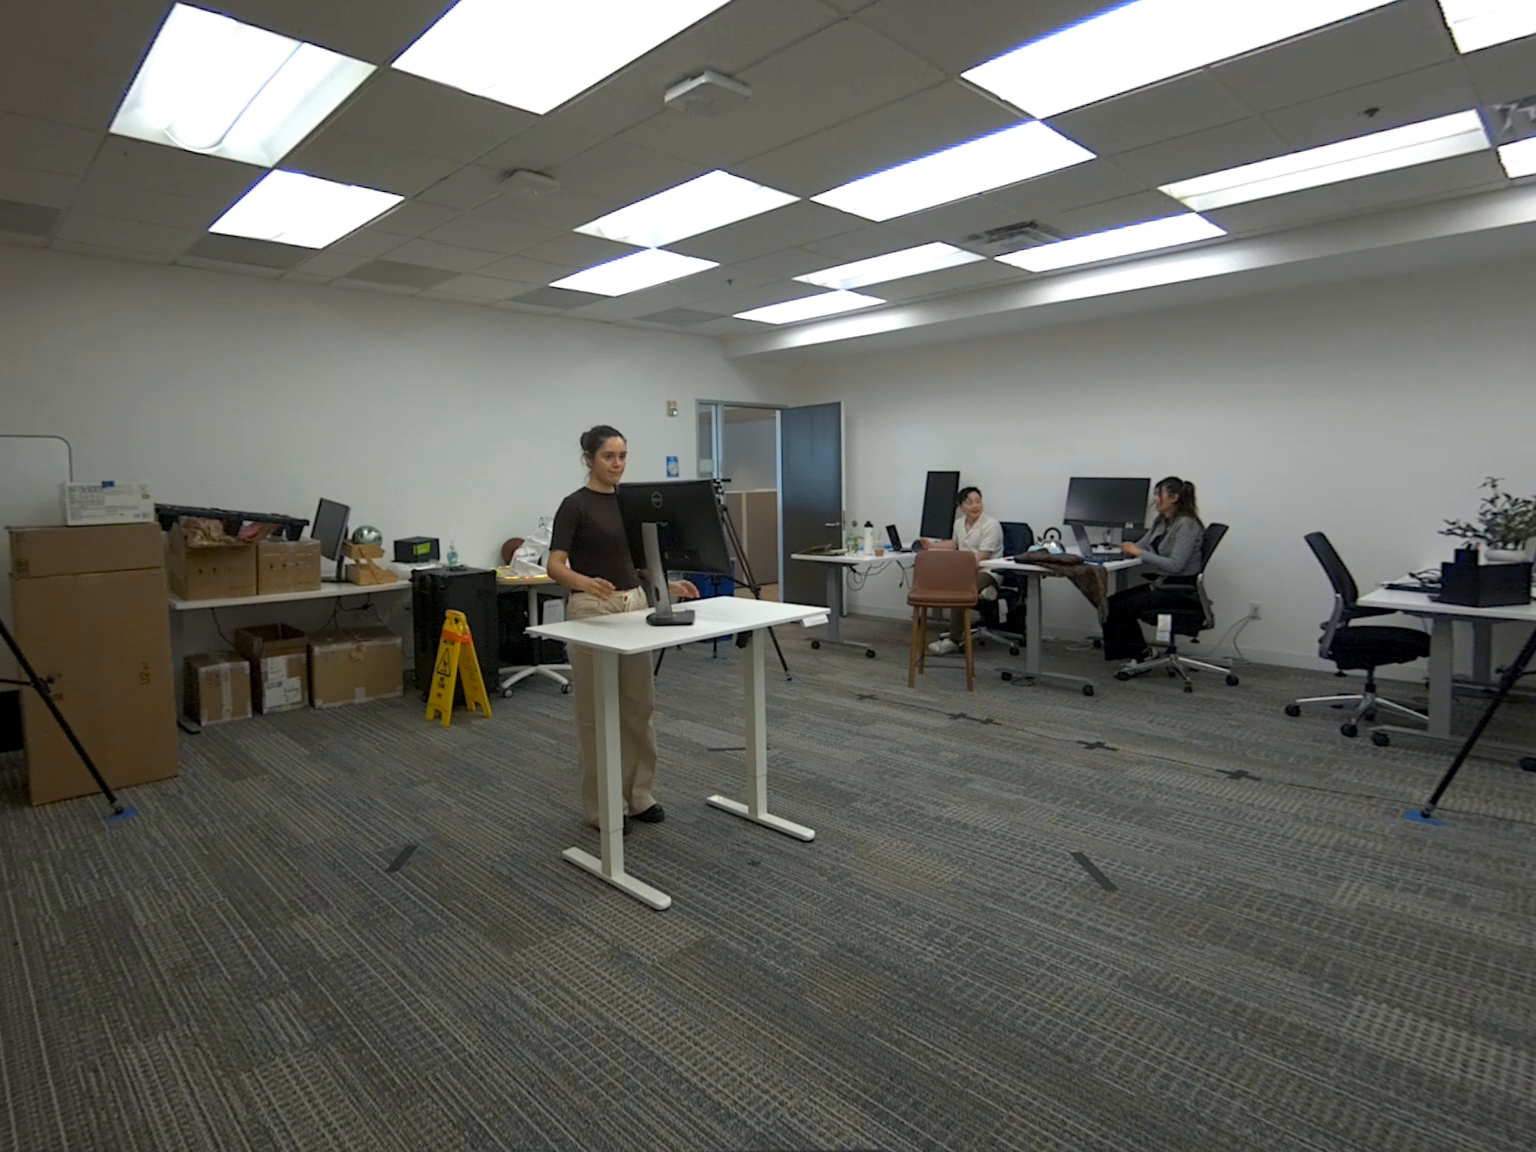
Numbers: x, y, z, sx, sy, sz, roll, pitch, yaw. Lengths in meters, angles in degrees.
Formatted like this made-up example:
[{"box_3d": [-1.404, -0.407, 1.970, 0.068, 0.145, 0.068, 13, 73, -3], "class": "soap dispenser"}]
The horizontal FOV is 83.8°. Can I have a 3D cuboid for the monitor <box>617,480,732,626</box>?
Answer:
[{"box_3d": [-0.379, -0.092, 3.160, 0.554, 0.522, 0.182, 0, 2, 39], "class": "monitor"}]
